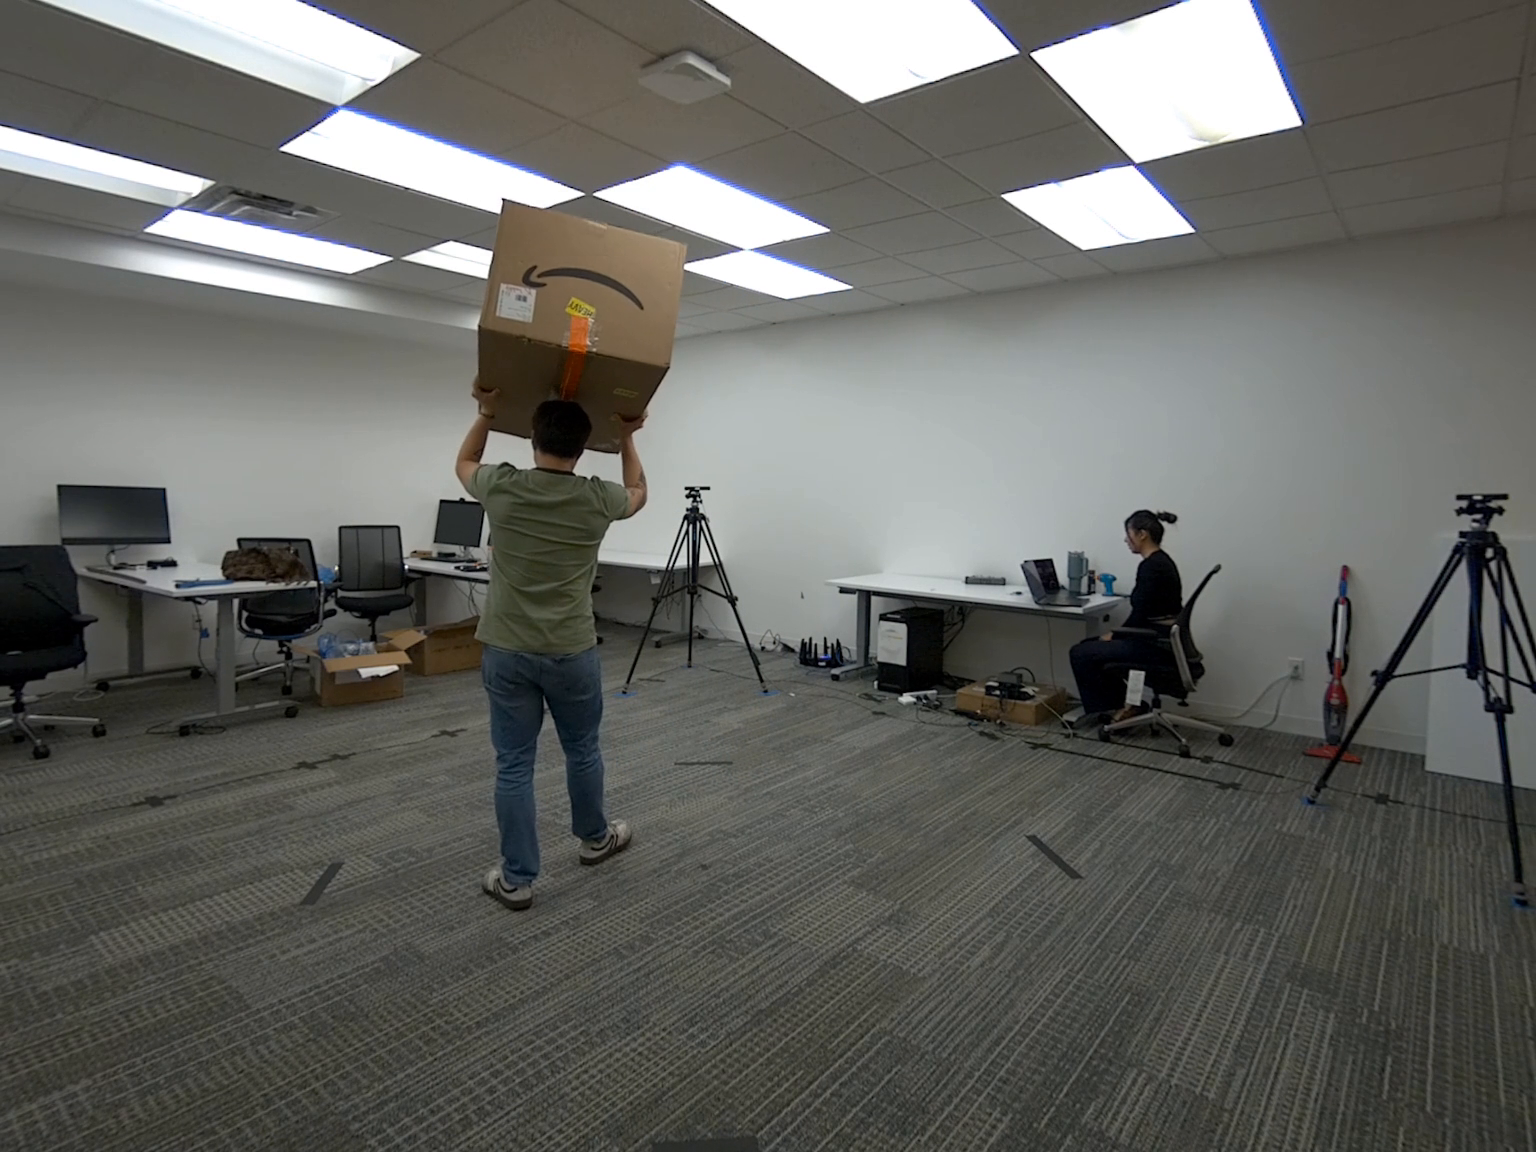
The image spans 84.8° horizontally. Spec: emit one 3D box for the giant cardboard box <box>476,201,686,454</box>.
[{"bbox_3d":[-0.712,-0.816,3.035,0.568,0.430,1.035,10,-10,-16],"label":"giant cardboard box"}]
